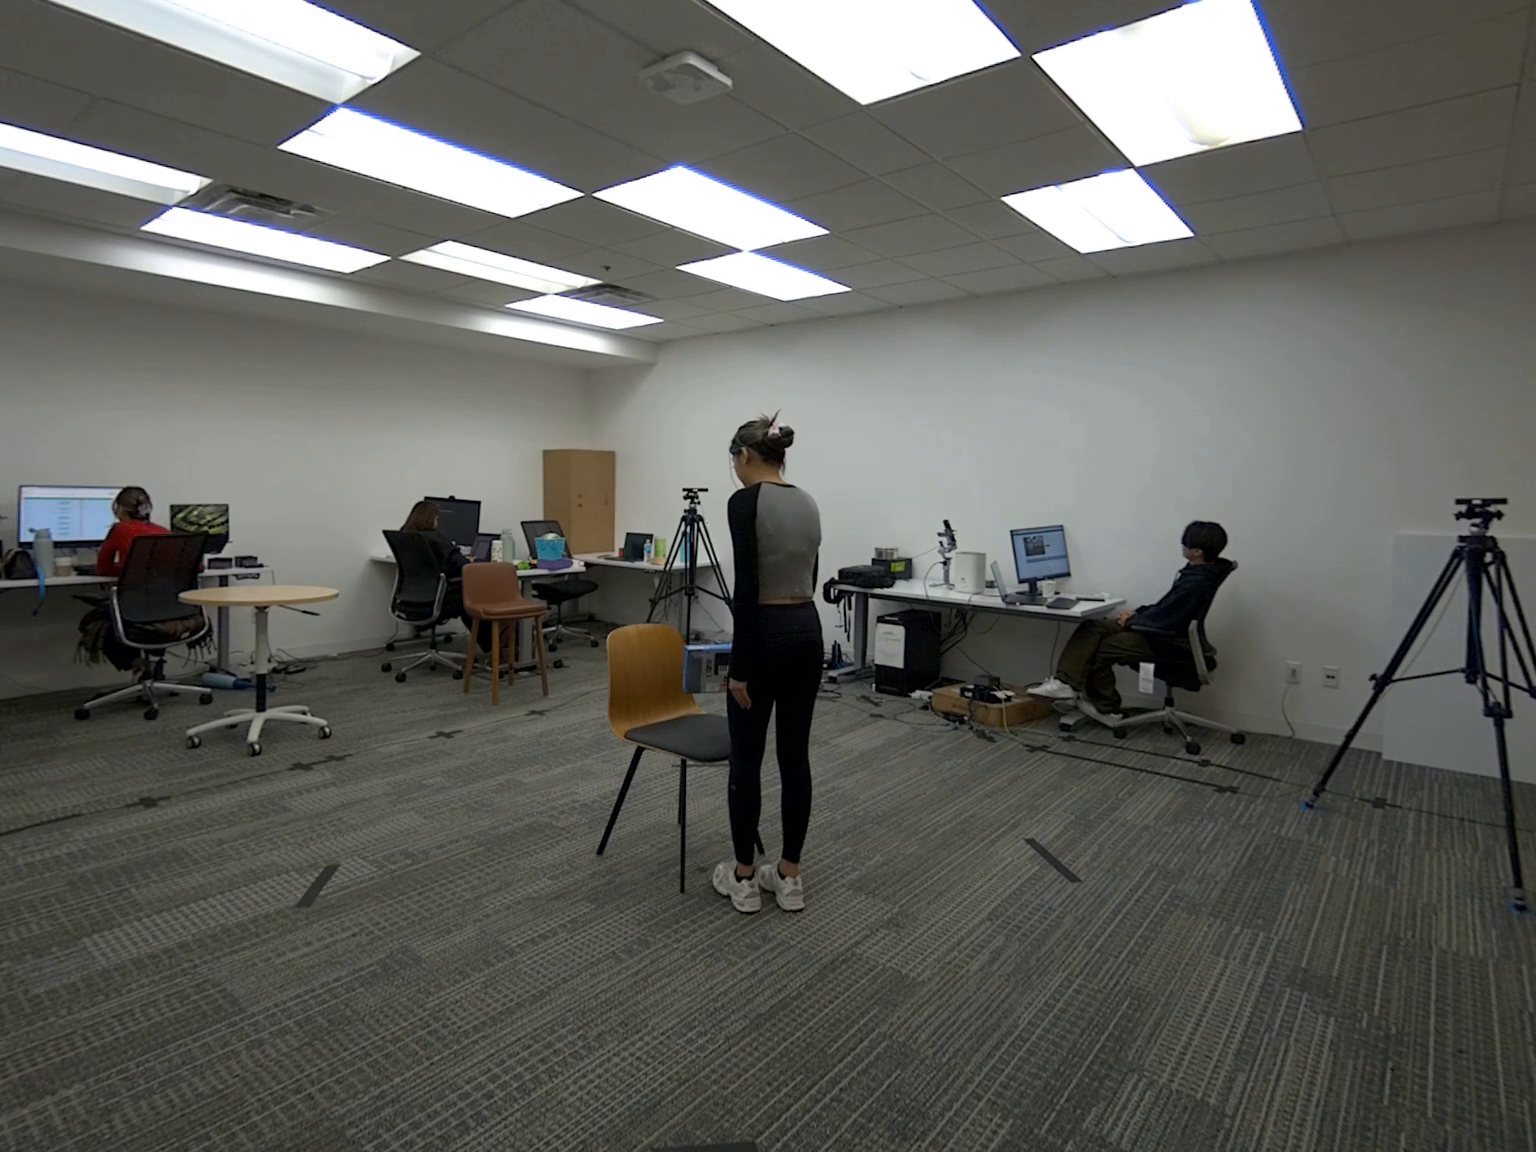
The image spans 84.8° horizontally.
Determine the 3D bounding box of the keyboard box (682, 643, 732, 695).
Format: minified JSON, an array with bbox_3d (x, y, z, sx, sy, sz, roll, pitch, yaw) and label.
[{"bbox_3d":[-0.107,0.342,3.221,0.430,0.175,0.060,-1,8,-16],"label":"keyboard box"}]
